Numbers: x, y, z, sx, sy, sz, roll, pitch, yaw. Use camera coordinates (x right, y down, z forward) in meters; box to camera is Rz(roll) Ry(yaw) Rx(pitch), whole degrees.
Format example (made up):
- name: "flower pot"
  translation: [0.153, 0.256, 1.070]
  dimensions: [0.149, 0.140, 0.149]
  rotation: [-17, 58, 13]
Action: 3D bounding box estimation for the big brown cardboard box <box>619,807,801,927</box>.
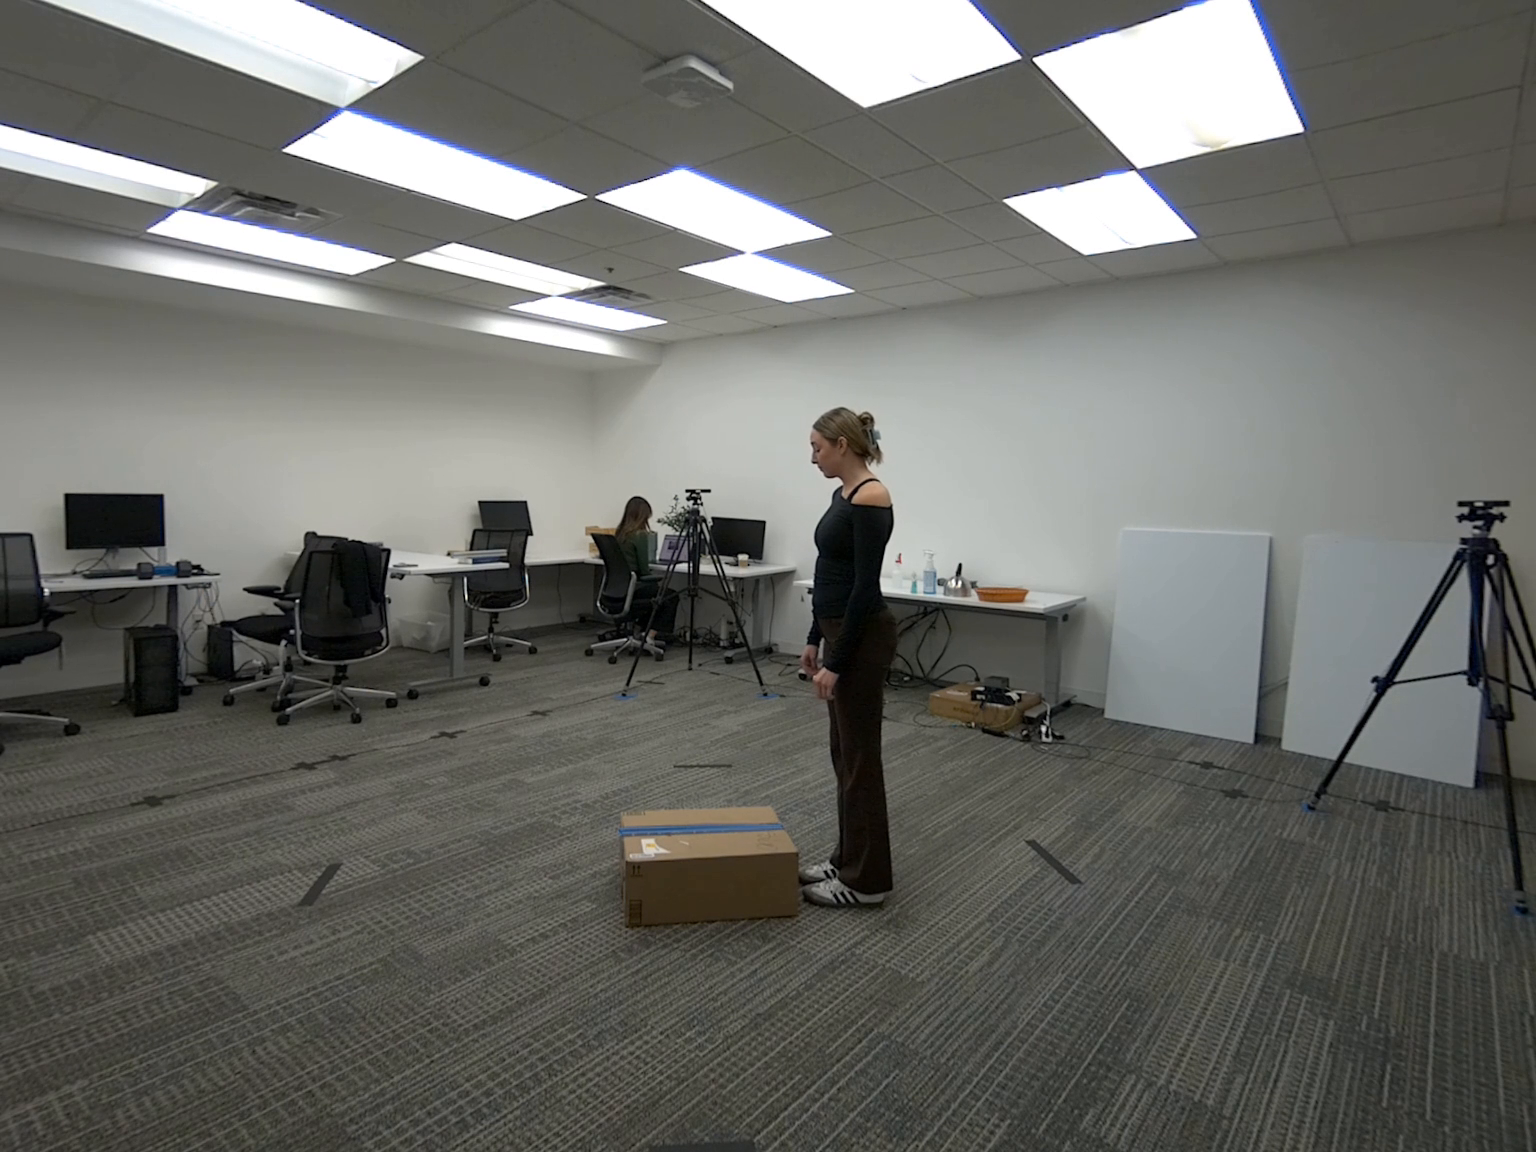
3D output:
- name: "big brown cardboard box"
  translation: [-0.234, 0.978, 2.932]
  dimensions: [0.582, 0.232, 0.424]
  rotation: [1, 5, -11]
